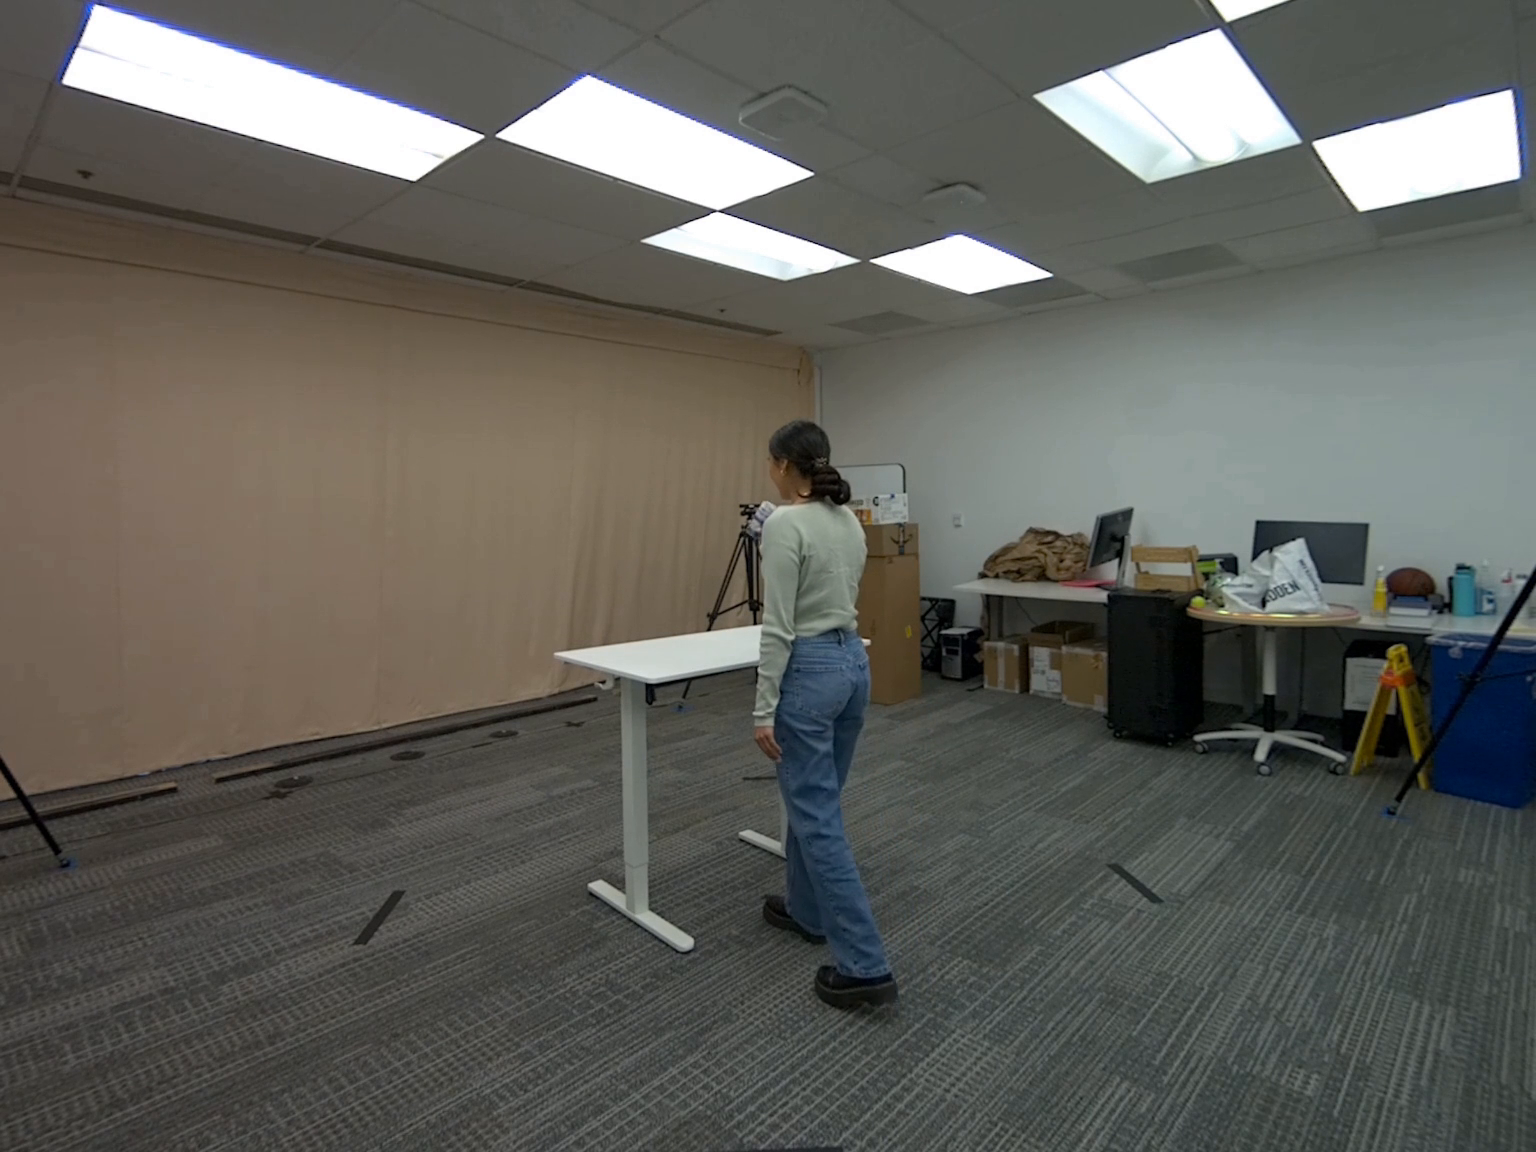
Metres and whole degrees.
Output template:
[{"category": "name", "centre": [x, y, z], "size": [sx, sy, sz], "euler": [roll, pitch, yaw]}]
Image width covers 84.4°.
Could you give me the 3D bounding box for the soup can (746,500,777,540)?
[{"category": "soup can", "centre": [-0.005, -0.189, 2.841], "size": [0.067, 0.121, 0.067], "euler": [17, 6, -4]}]
